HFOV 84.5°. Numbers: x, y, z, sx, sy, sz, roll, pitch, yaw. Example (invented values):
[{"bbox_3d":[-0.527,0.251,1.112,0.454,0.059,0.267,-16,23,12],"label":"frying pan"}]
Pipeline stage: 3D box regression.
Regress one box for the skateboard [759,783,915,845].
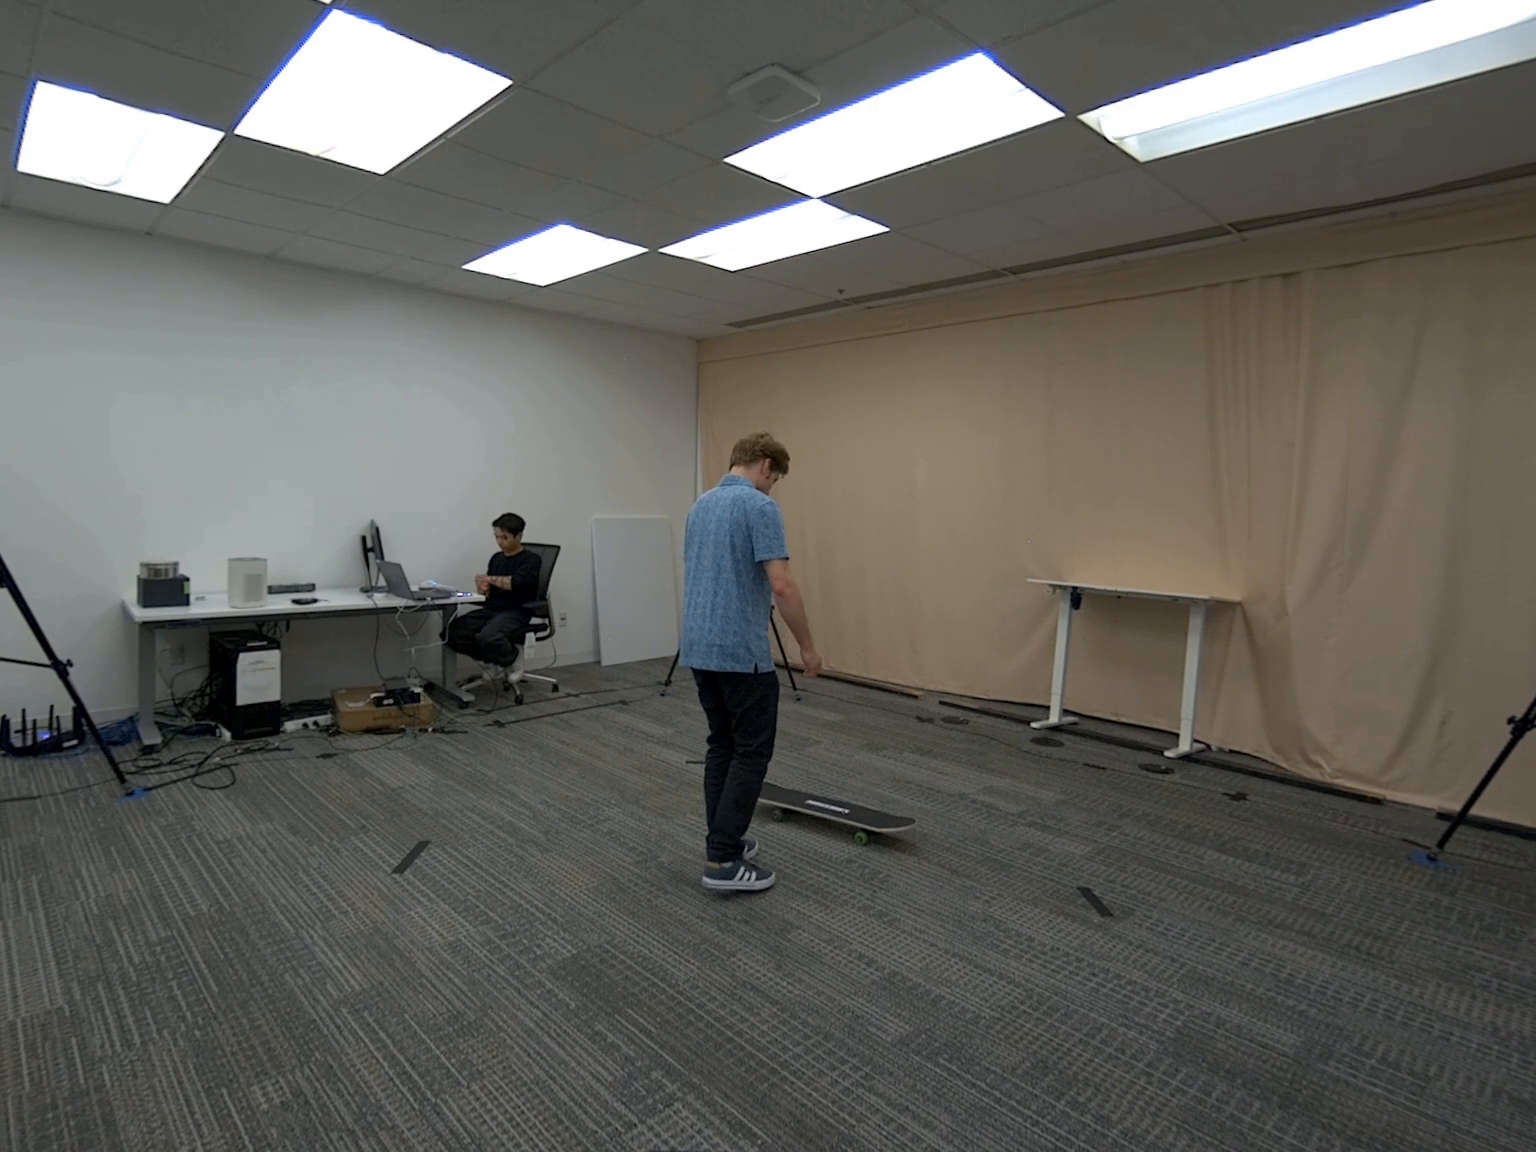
[{"bbox_3d":[0.244,1.018,3.603,0.804,0.110,0.189,5,5,34],"label":"skateboard"}]
